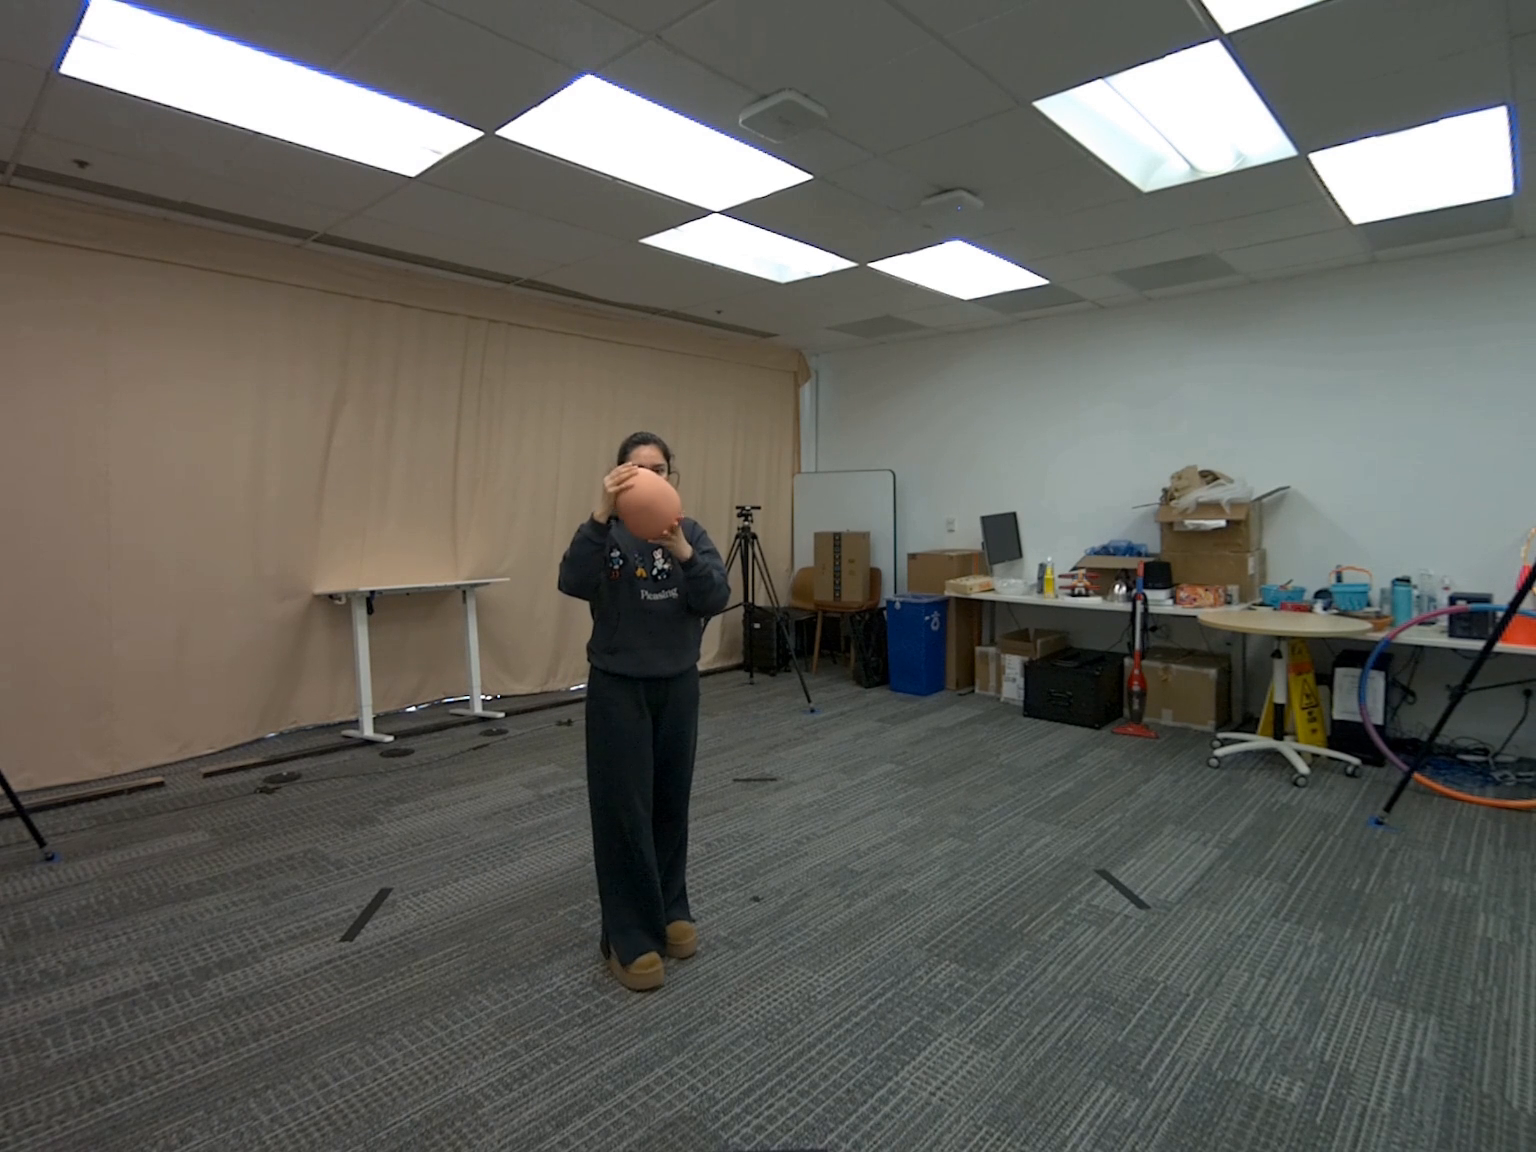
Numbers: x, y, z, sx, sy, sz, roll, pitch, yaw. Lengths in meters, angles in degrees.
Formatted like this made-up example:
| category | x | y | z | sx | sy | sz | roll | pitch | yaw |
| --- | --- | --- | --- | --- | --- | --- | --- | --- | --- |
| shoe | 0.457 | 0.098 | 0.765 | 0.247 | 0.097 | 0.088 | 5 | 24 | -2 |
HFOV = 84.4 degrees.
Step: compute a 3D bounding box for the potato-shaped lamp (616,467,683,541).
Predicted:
| category | x | y | z | sx | sy | sz | roll | pitch | yaw |
| --- | --- | --- | --- | --- | --- | --- | --- | --- | --- |
| potato-shaped lamp | -0.341 | -0.200 | 2.287 | 0.176 | 0.165 | 0.191 | -5 | -38 | 45 |
